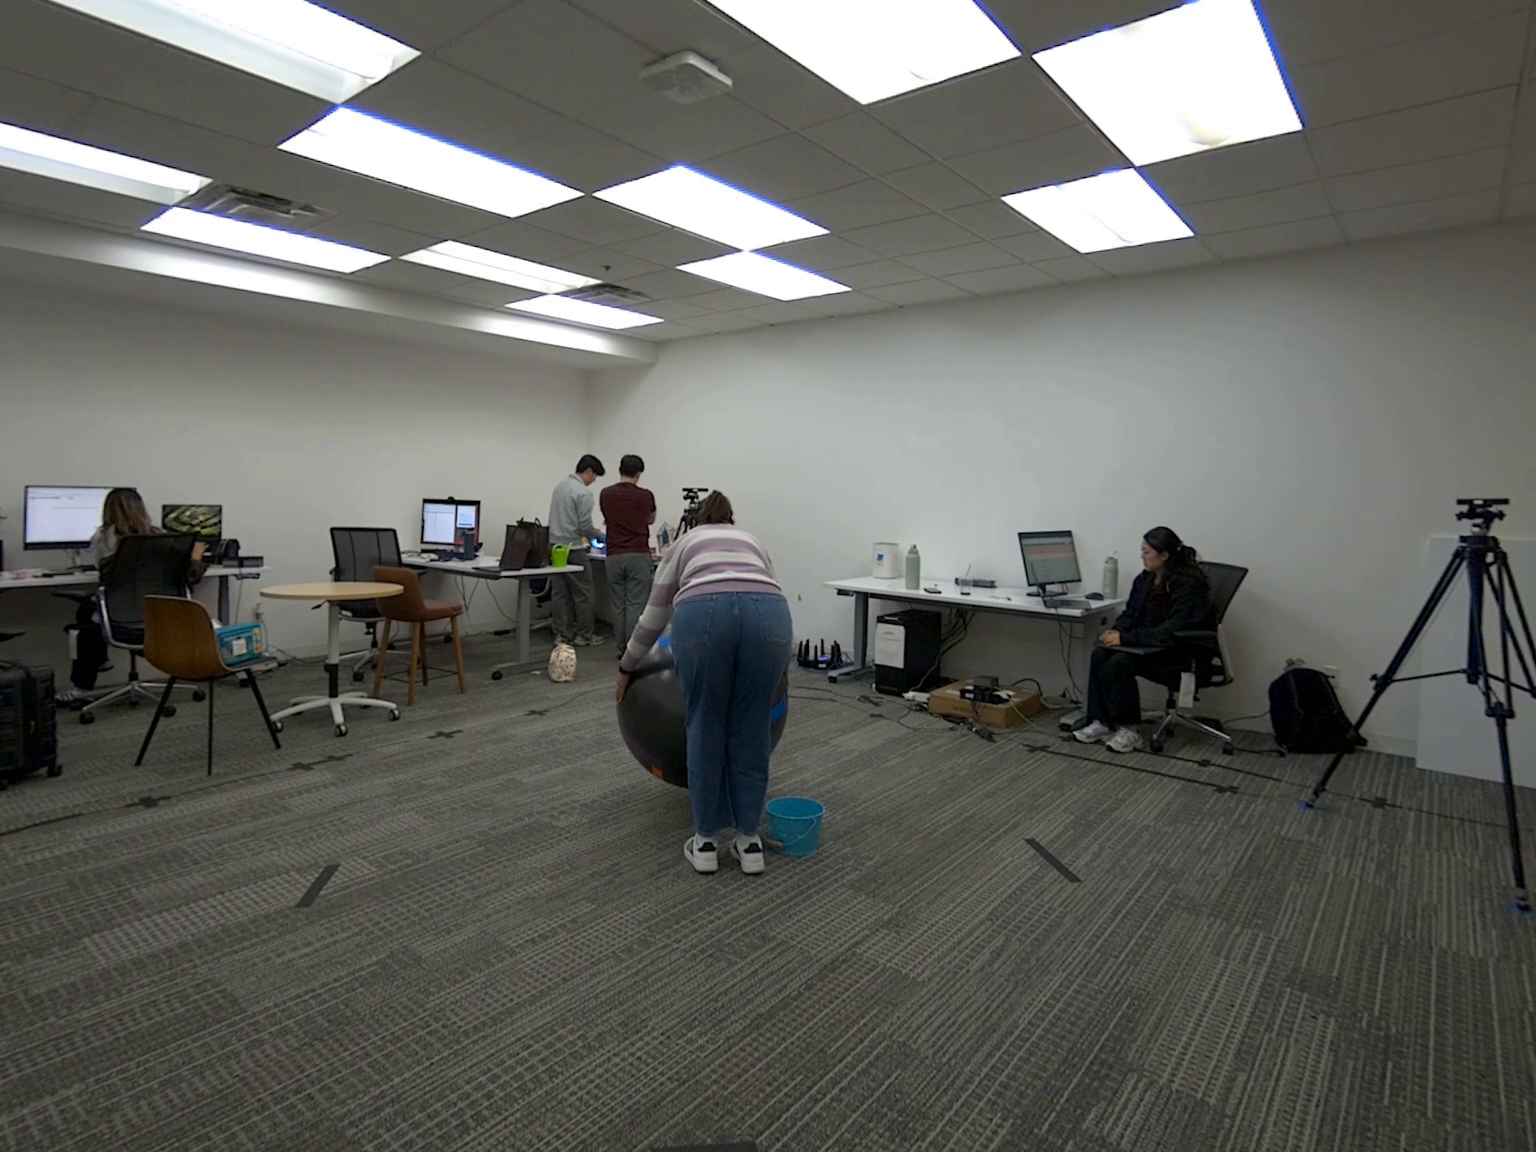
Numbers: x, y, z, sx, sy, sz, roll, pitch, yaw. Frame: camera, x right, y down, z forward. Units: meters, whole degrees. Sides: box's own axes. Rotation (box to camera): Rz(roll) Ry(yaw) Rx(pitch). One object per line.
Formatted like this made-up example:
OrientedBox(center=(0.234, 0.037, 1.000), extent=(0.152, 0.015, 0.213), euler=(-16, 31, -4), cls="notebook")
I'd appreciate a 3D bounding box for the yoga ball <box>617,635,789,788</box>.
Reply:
OrientedBox(center=(-0.291, 0.546, 3.746), extent=(0.757, 0.756, 0.762), euler=(1, 4, -2), cls="yoga ball")
